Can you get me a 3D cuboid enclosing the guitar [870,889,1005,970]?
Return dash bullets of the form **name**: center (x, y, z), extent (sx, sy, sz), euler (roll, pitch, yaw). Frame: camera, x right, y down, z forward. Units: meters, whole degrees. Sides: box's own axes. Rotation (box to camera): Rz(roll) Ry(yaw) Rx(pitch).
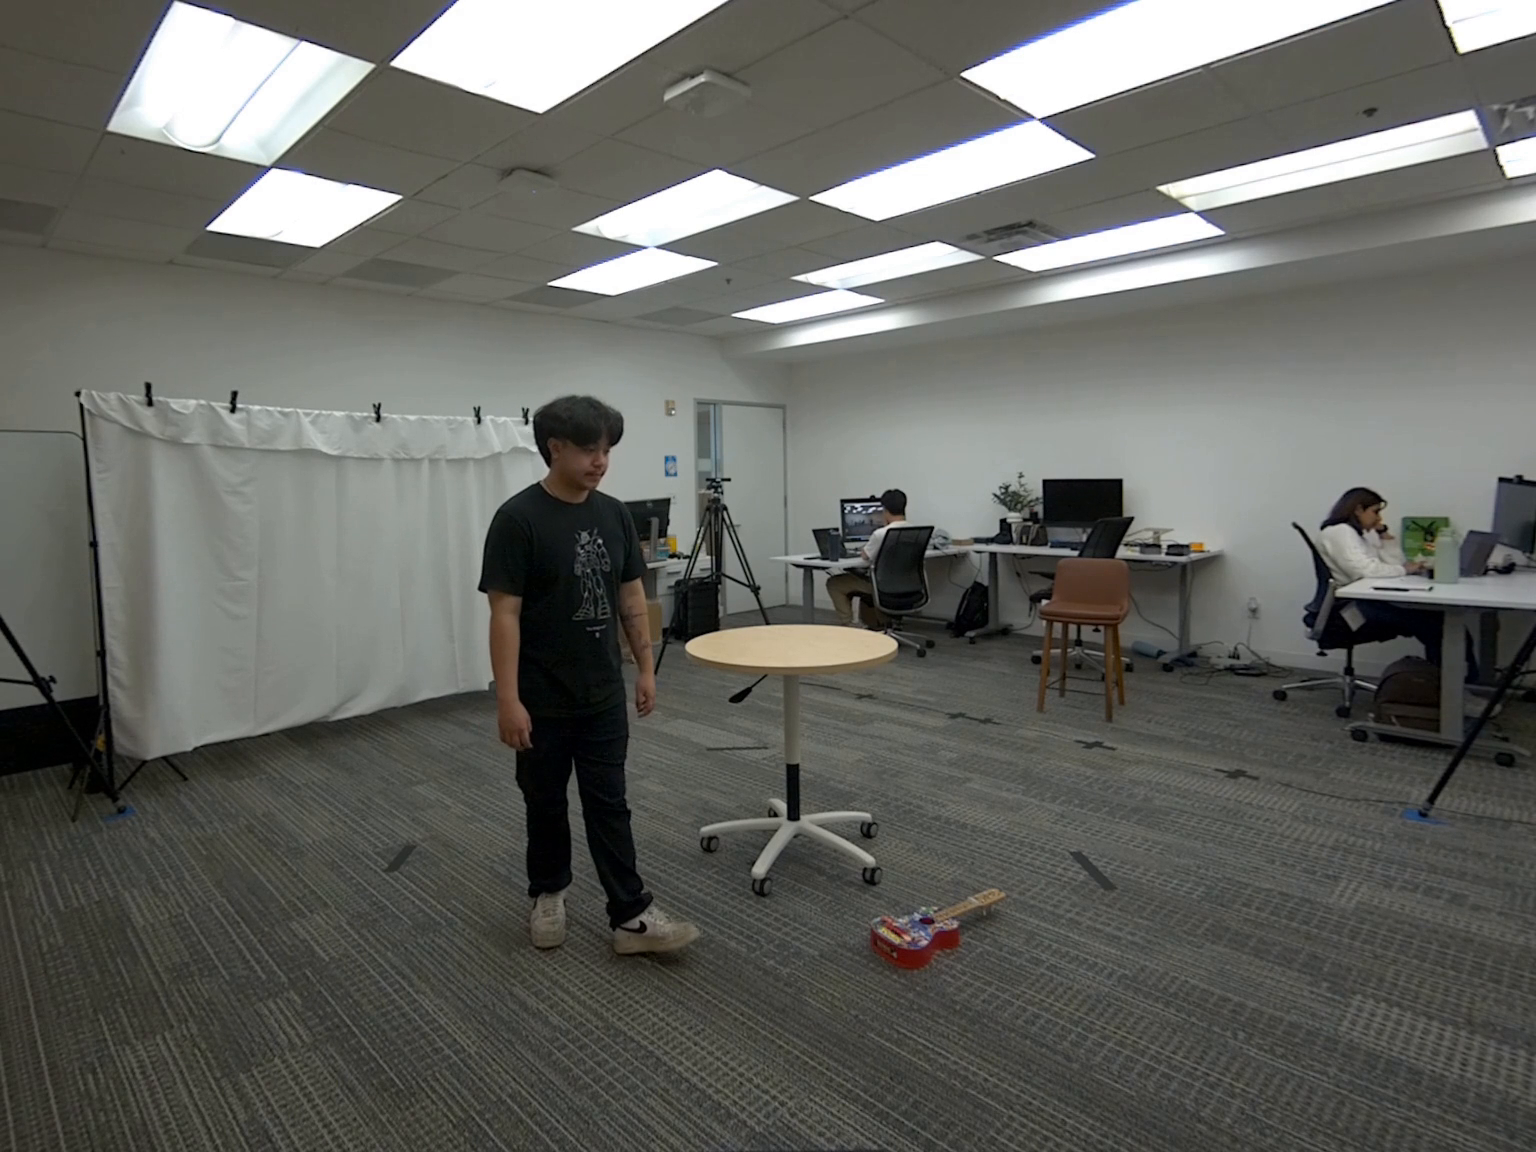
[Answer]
- **guitar**: center (0.560, 1.062, 2.574), extent (0.488, 0.070, 0.198), euler (-4, 7, -23)
